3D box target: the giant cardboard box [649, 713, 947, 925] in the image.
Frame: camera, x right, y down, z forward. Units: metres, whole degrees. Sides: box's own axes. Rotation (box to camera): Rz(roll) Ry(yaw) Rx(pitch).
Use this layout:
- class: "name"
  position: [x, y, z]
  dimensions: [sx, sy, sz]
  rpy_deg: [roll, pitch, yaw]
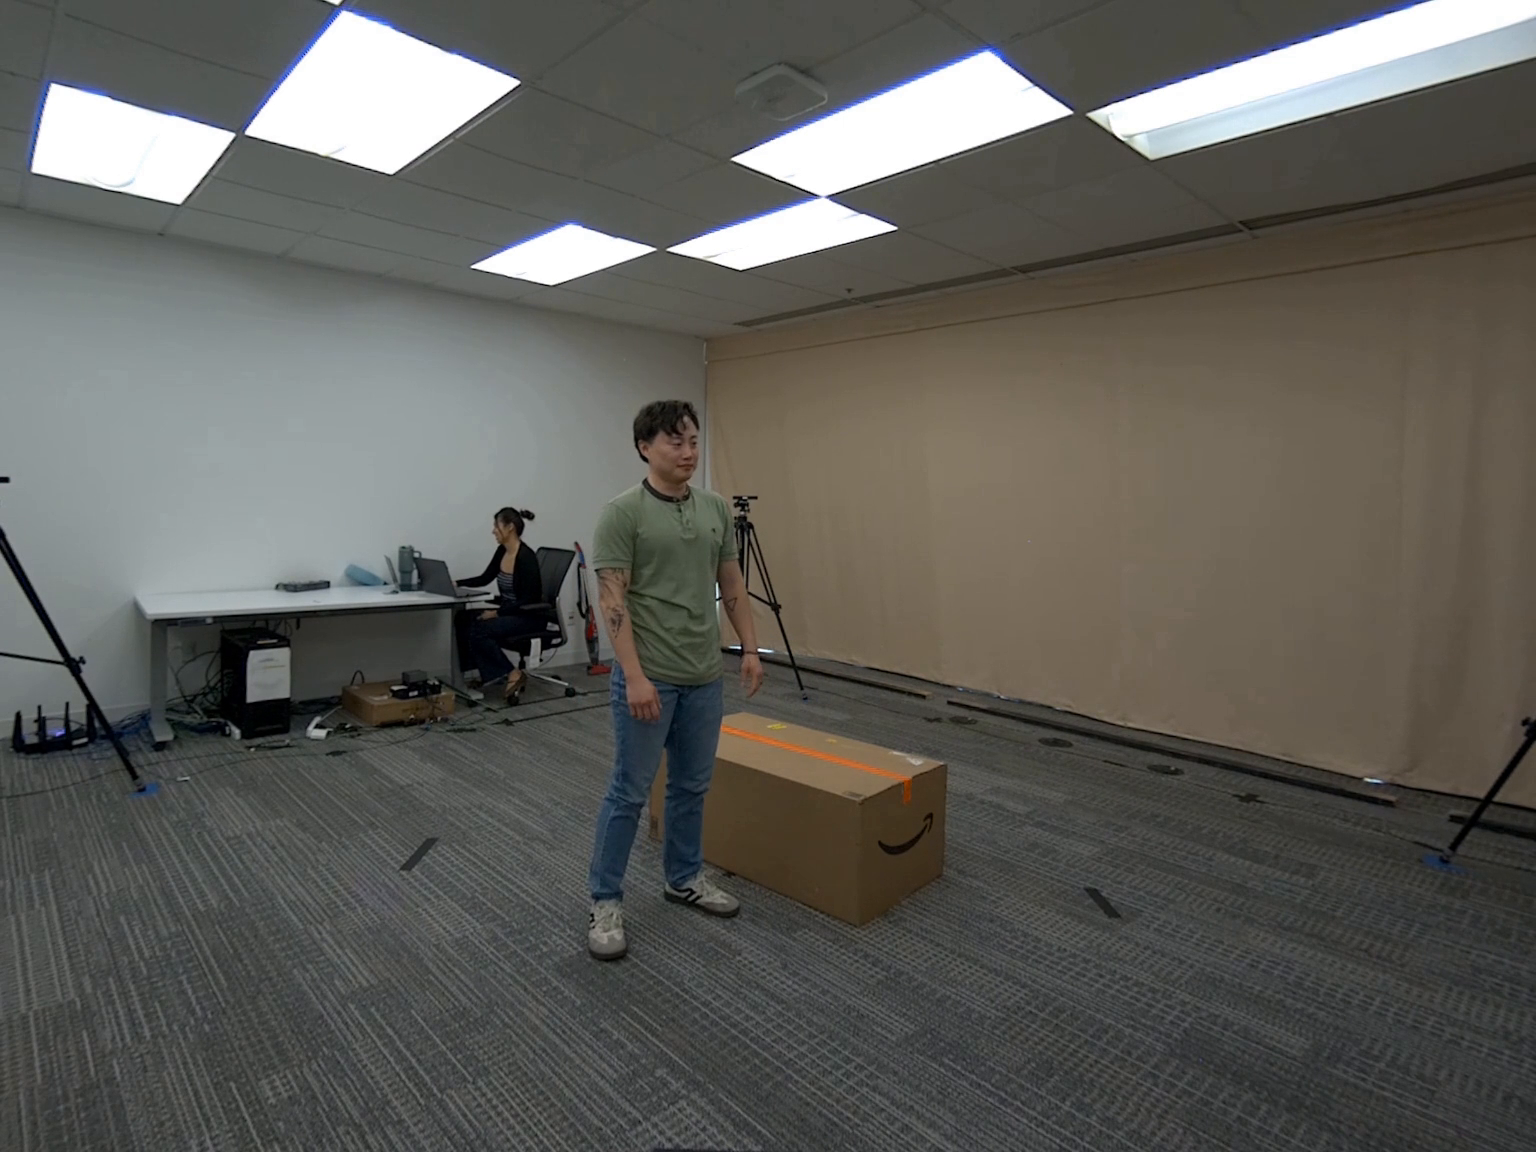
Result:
- class: "giant cardboard box"
  position: [0.086, 0.881, 3.278]
  dimensions: [1.052, 0.425, 0.564]
  rpy_deg: [6, 5, 42]
